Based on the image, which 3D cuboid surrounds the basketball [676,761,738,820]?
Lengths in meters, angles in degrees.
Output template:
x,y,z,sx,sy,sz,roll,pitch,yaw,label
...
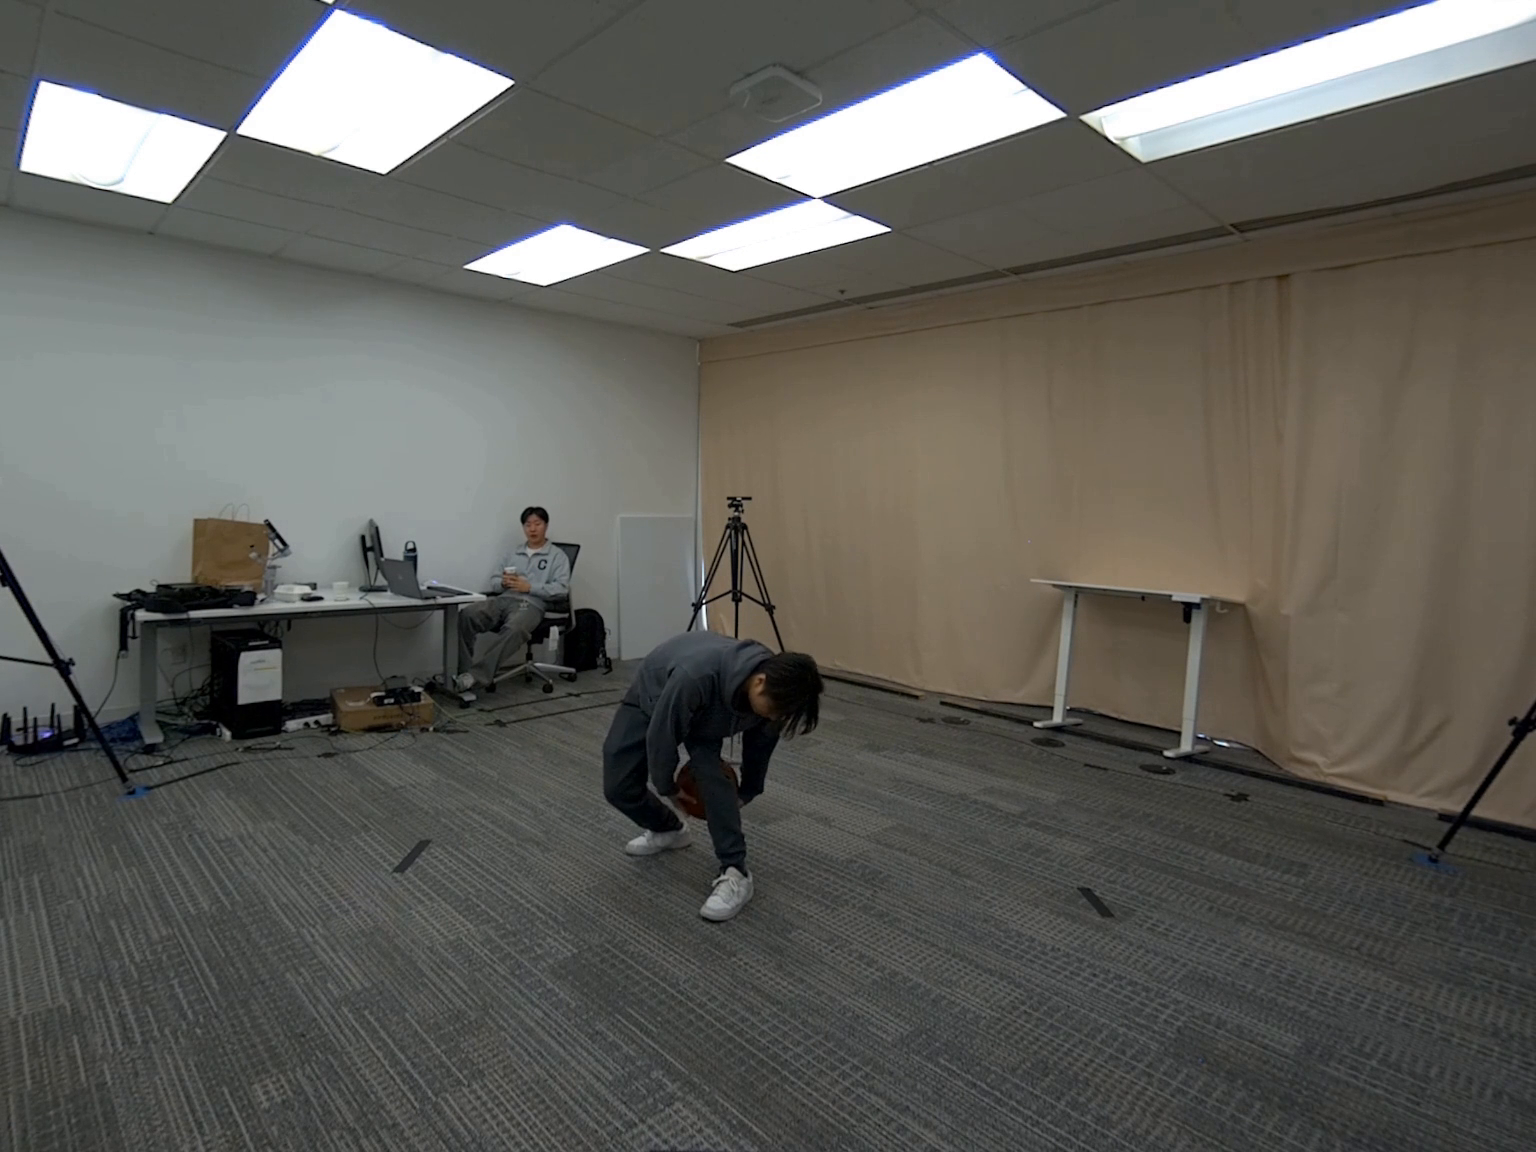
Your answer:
x,y,z,sx,sy,sz,roll,pitch,yaw,label
-0.235,0.787,3.163,0.236,0.235,0.237,1,4,-1,basketball
